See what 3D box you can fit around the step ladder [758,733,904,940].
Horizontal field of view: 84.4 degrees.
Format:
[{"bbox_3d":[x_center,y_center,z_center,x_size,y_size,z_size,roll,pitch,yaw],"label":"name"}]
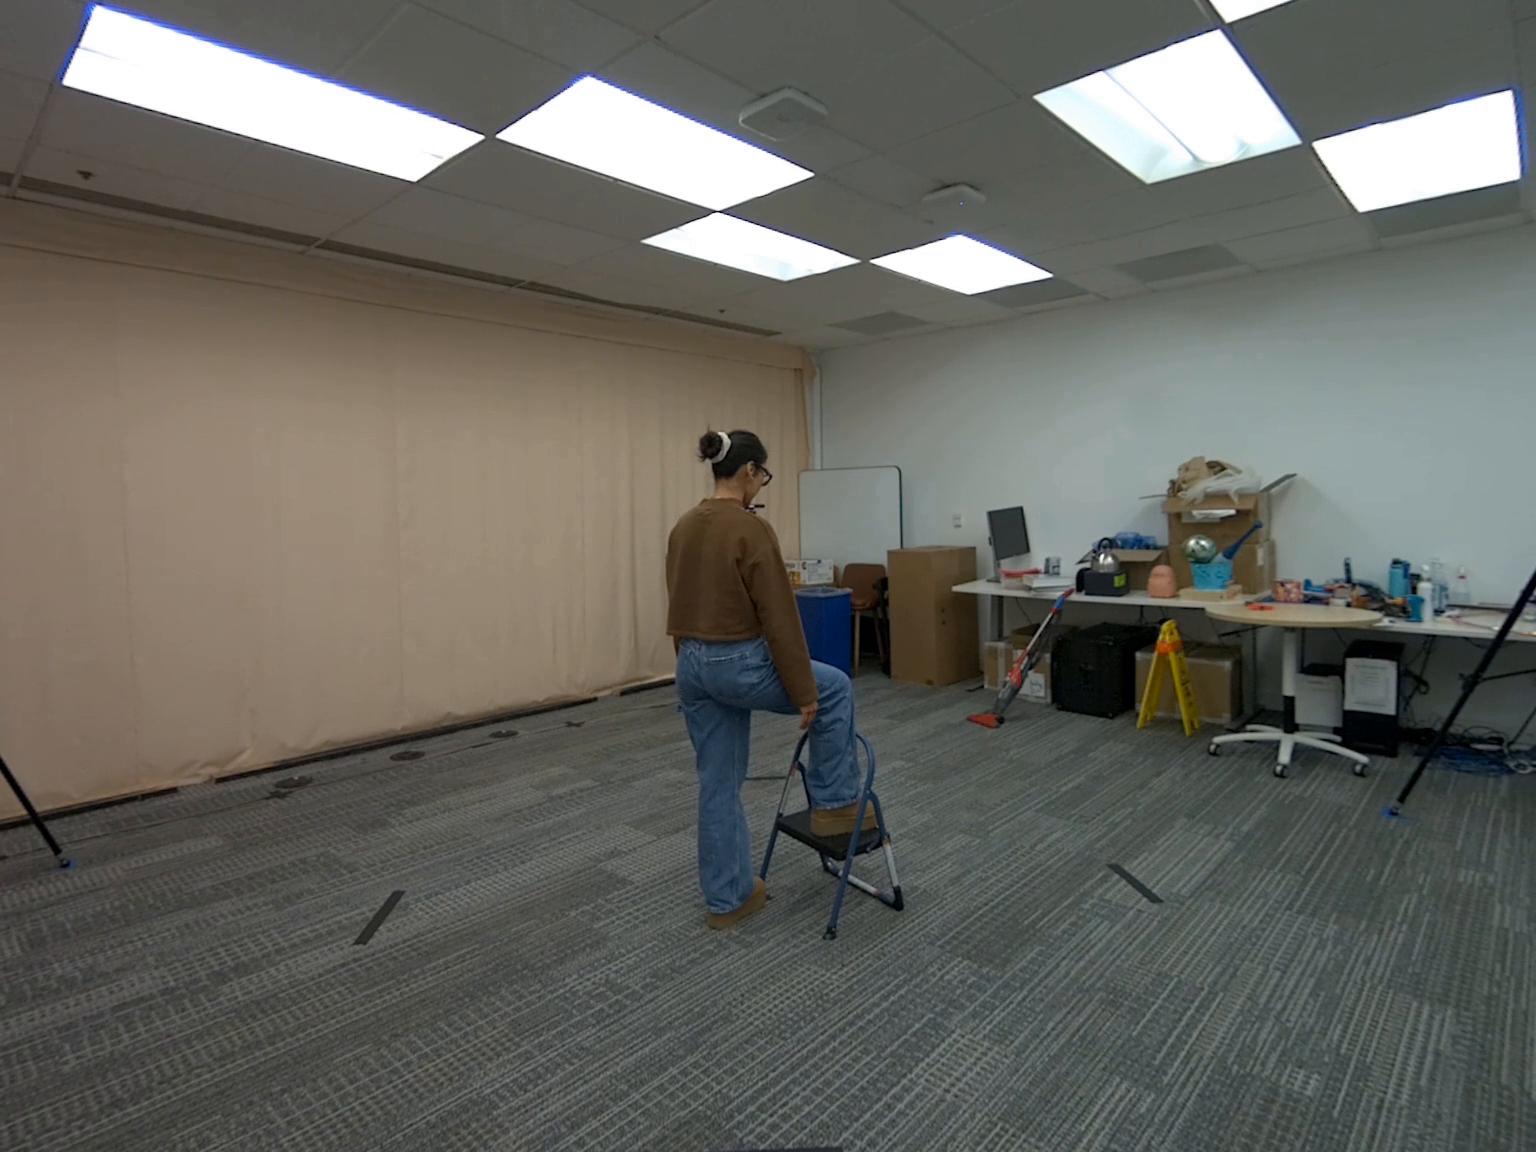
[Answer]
[{"bbox_3d":[0.208,0.837,2.938,0.339,0.605,0.444,-3,4,-35],"label":"step ladder"}]
